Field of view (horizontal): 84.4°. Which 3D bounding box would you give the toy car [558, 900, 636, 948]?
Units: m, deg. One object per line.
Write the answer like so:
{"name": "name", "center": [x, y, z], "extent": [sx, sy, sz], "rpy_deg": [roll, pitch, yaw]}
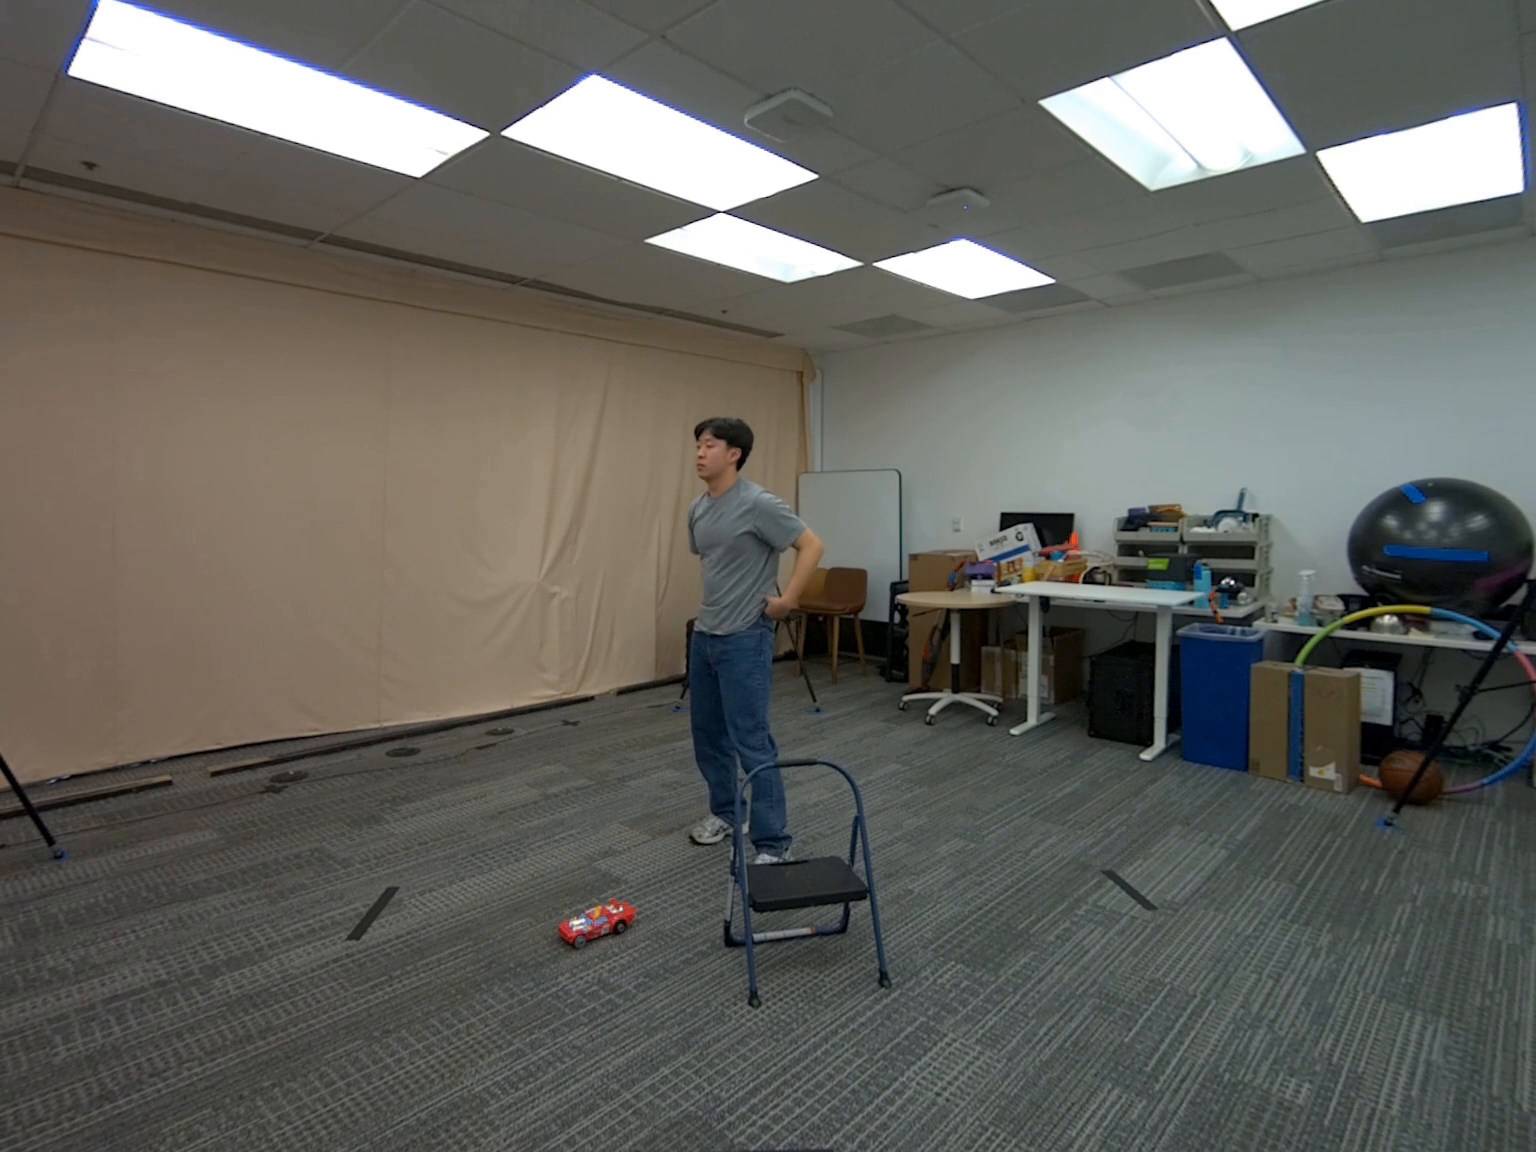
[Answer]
{"name": "toy car", "center": [-0.555, 1.136, 2.748], "extent": [0.248, 0.082, 0.134], "rpy_deg": [-18, 13, -35]}
